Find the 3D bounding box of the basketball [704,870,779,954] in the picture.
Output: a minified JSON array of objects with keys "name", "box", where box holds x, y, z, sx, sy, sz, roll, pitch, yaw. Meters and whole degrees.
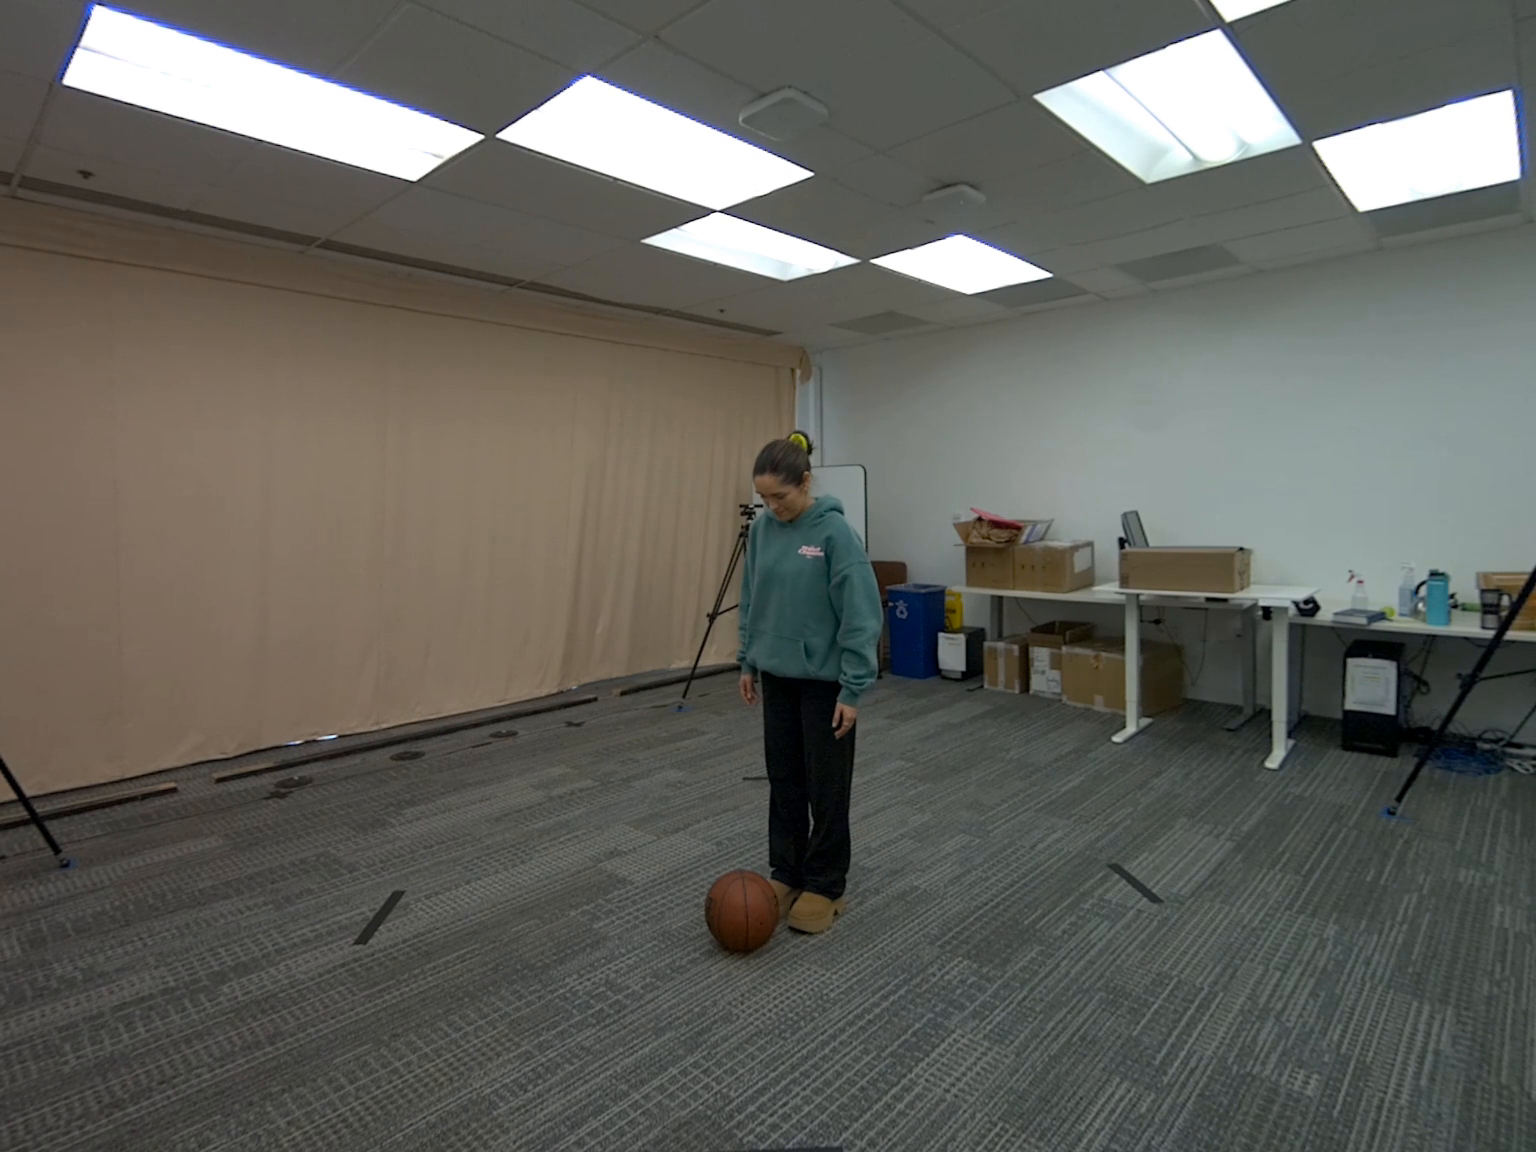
[{"name":"basketball","box":[-0.078,1.048,2.651,0.236,0.235,0.237,-1,4,-2]}]
